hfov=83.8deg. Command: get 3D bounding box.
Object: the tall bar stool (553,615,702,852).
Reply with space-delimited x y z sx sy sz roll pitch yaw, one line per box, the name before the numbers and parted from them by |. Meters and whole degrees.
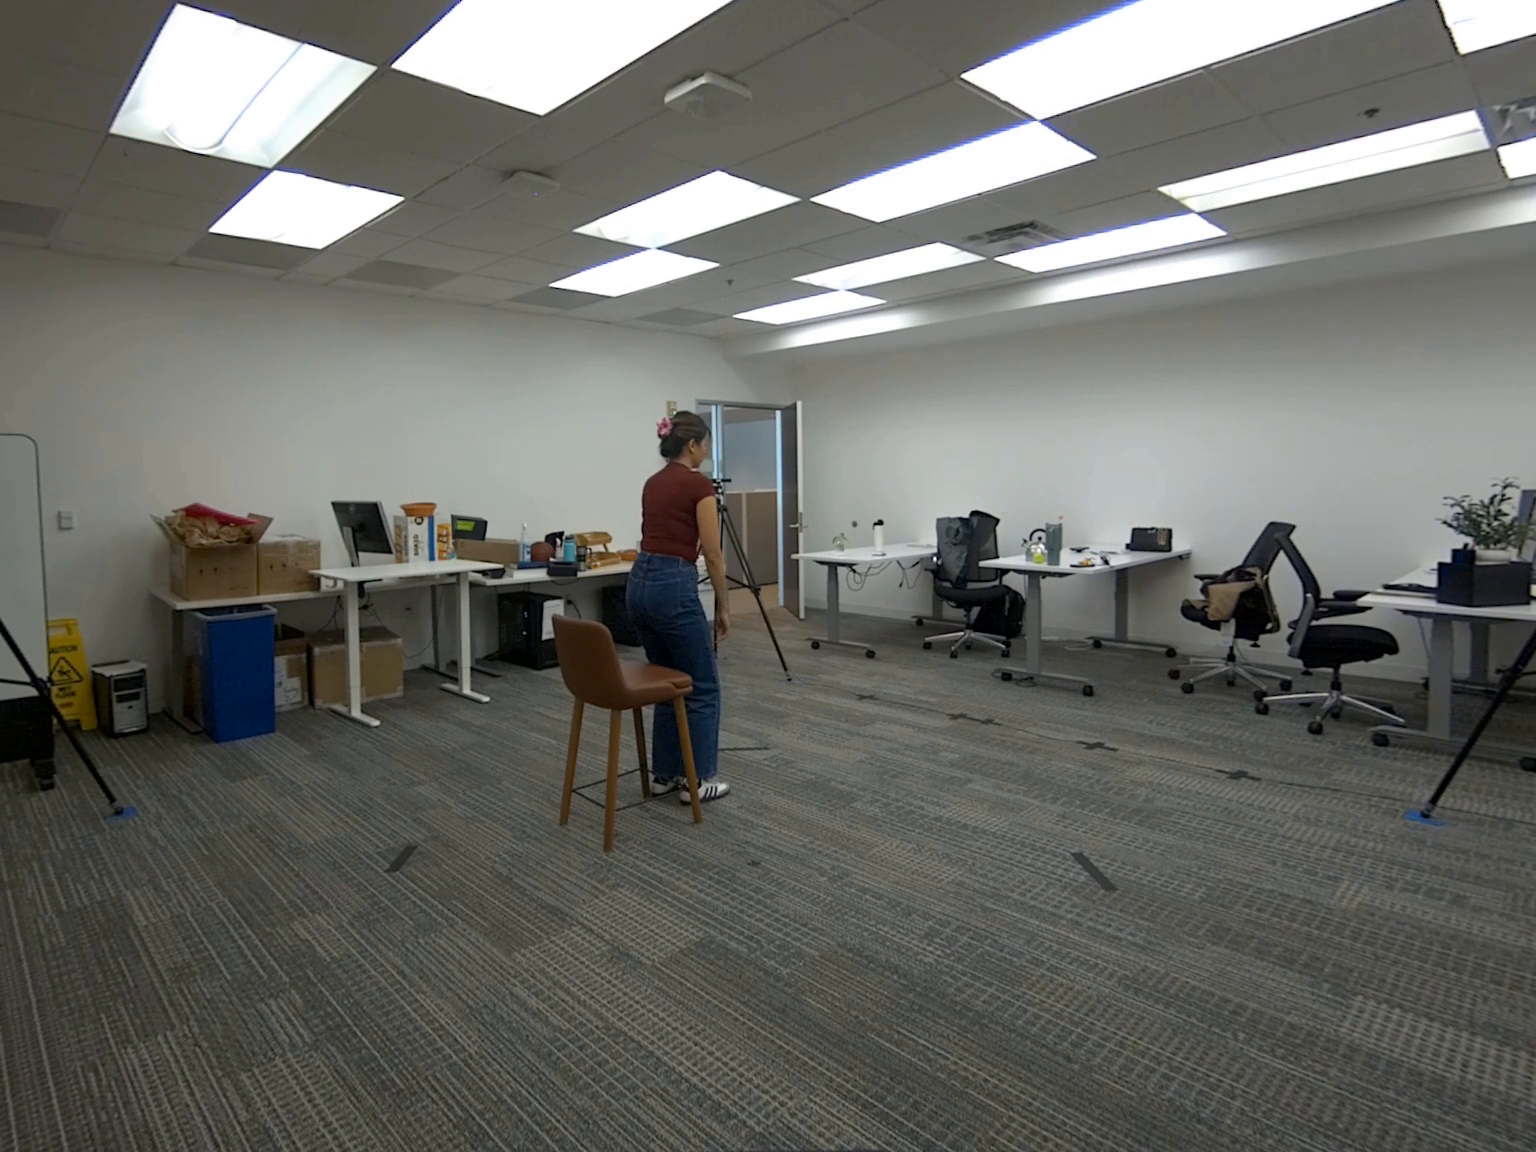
tall bar stool | -0.584 0.578 3.476 0.456 0.886 0.470 -6 6 -40
